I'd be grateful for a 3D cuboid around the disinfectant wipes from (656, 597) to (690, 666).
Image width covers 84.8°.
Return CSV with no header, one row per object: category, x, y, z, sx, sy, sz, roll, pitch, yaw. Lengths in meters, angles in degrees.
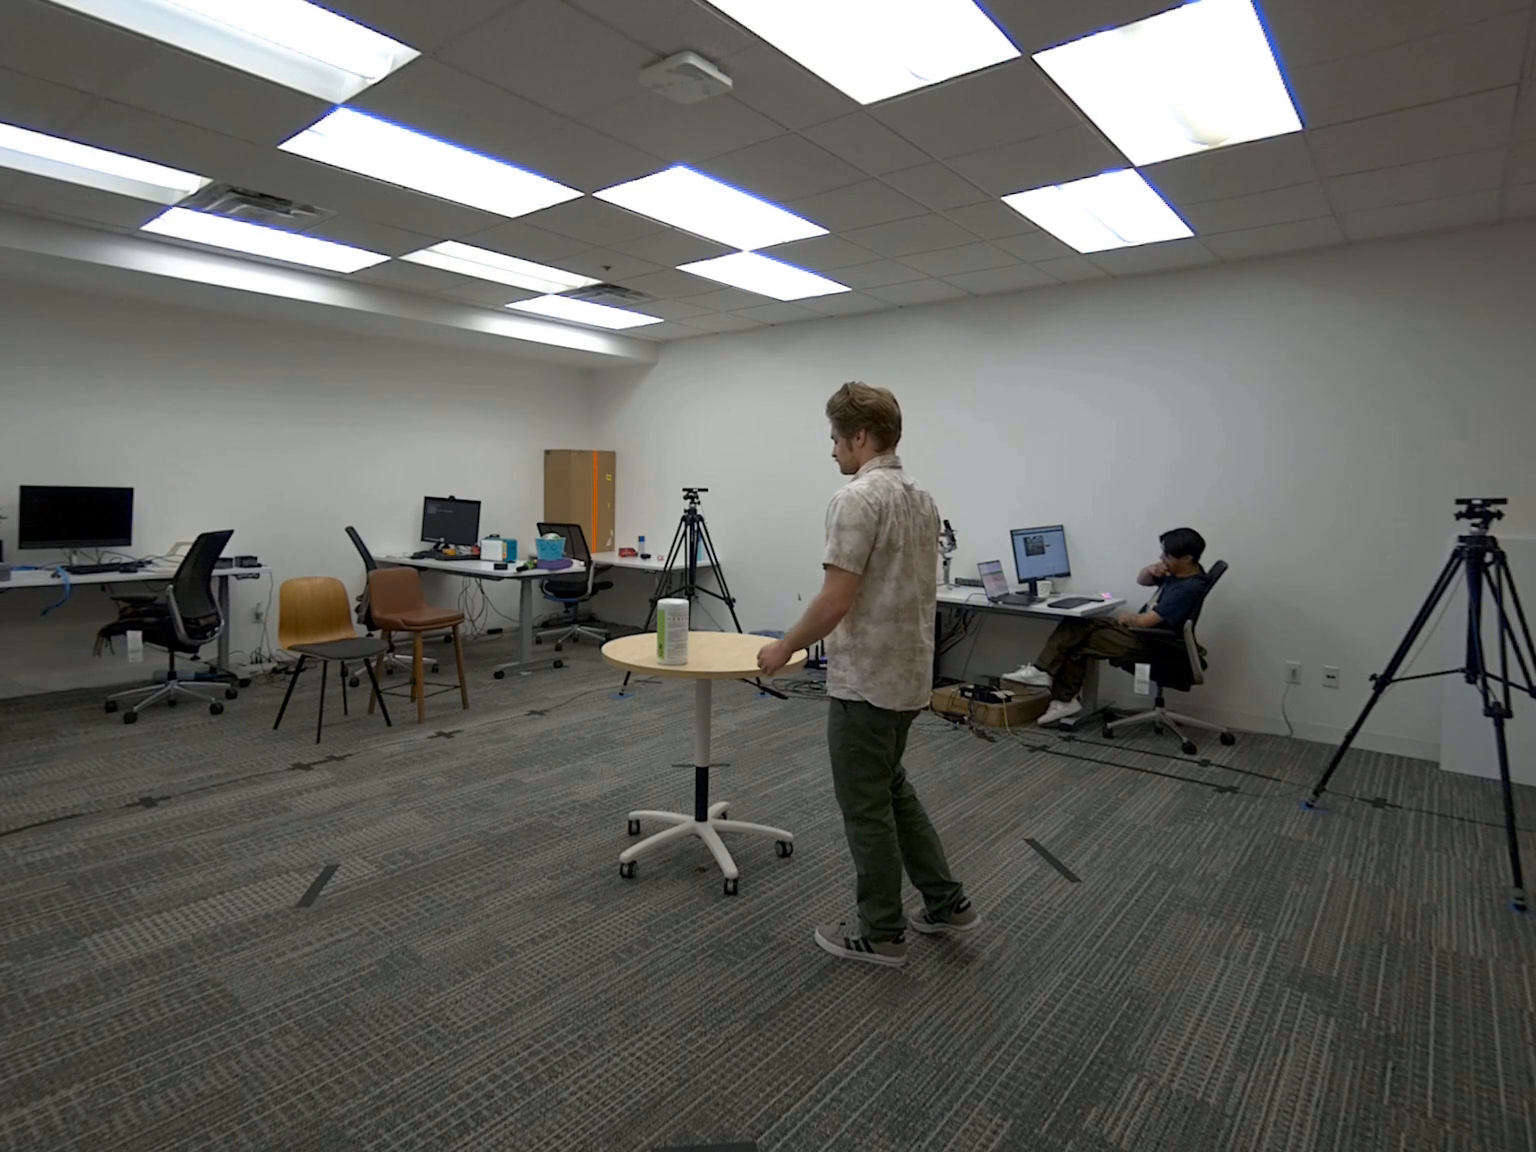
disinfectant wipes,-0.338,0.191,2.924,0.118,0.216,0.118,0,4,-2
